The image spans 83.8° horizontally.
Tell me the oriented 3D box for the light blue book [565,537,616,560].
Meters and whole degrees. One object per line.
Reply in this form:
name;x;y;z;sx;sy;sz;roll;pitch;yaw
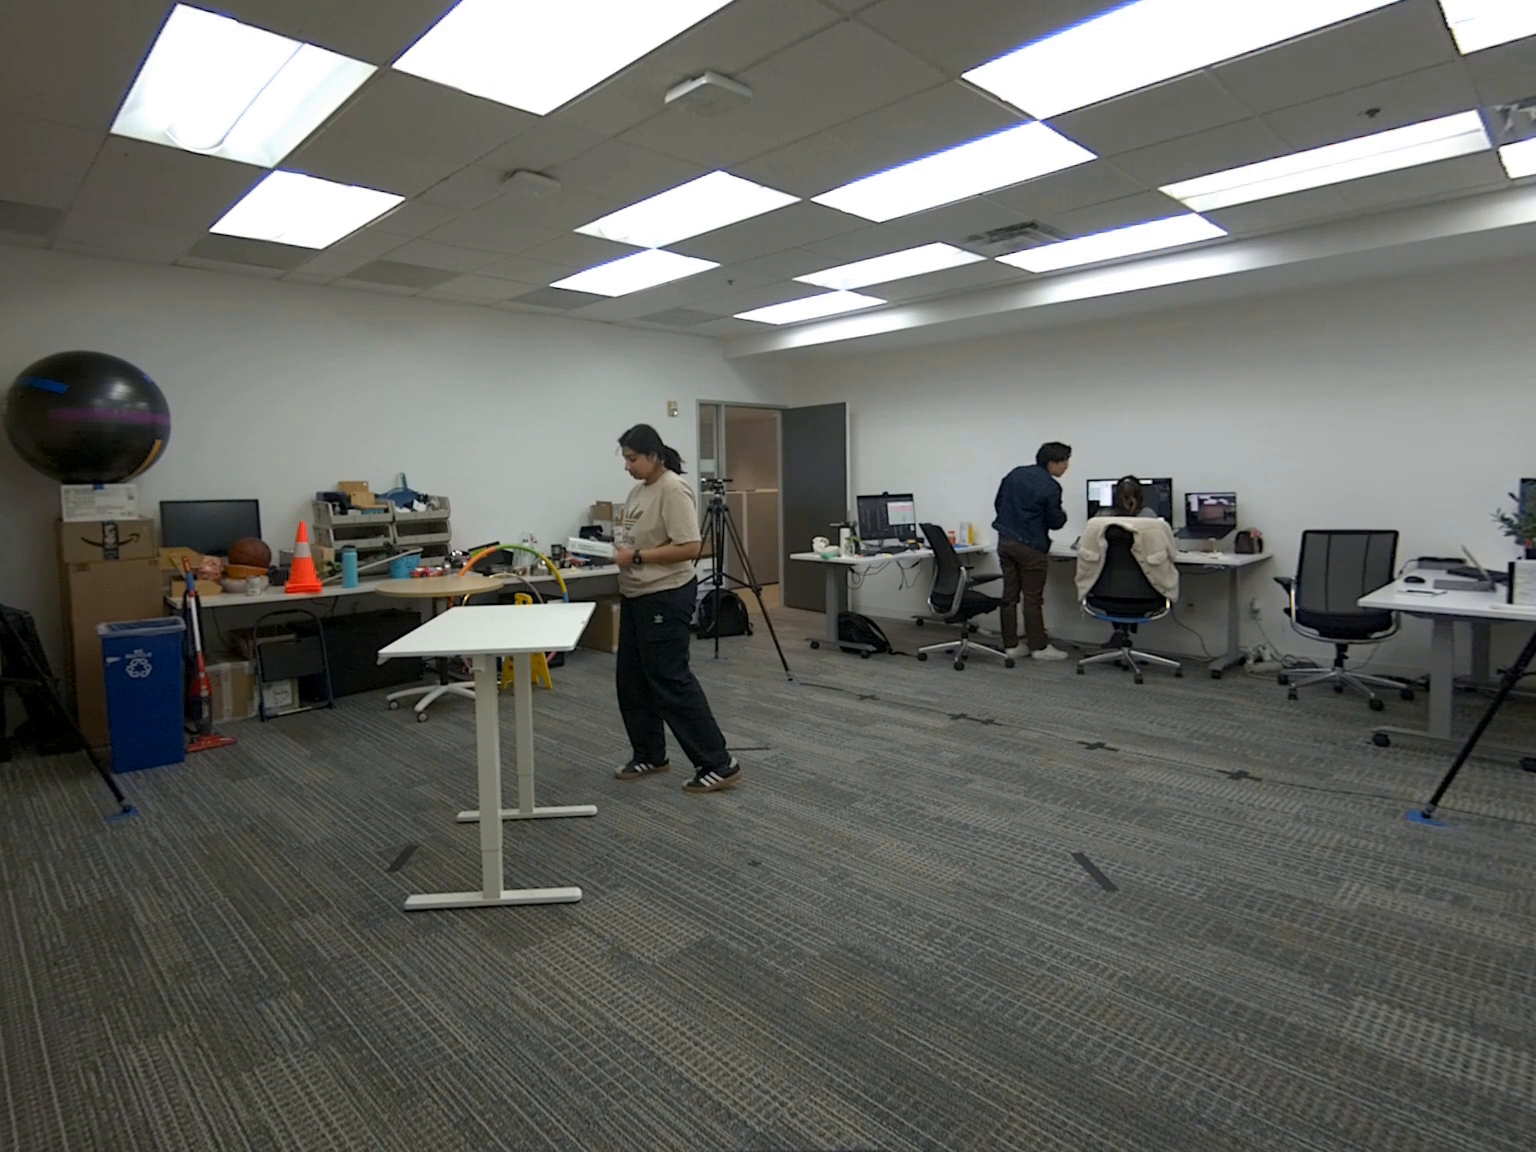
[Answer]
light blue book;-0.774;-0.127;3.929;0.257;0.059;0.195;10;2;-16
